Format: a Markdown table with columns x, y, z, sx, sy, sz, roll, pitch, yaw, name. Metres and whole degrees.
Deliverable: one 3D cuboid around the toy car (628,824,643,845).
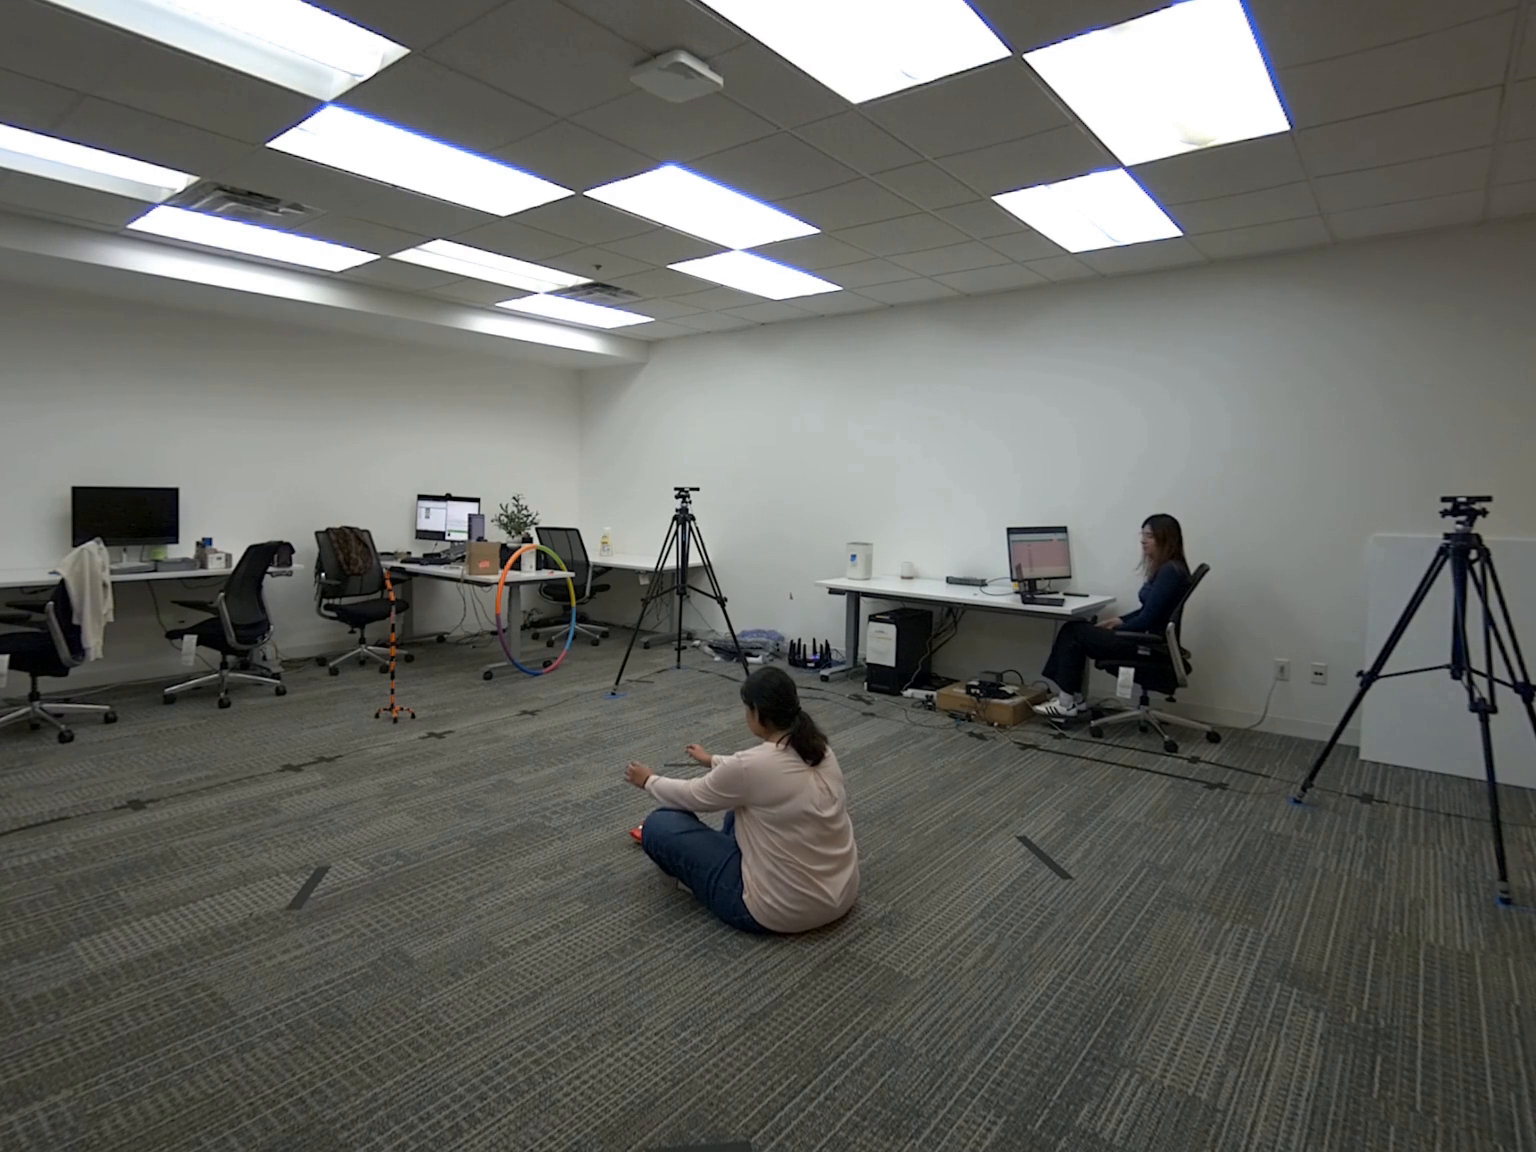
| x | y | z | sx | sy | sz | roll | pitch | yaw | name |
| --- | --- | --- | --- | --- | --- | --- | --- | --- | --- |
| -0.447 | 0.999 | 3.357 | 0.245 | 0.083 | 0.135 | 11 | -3 | -44 | toy car |
